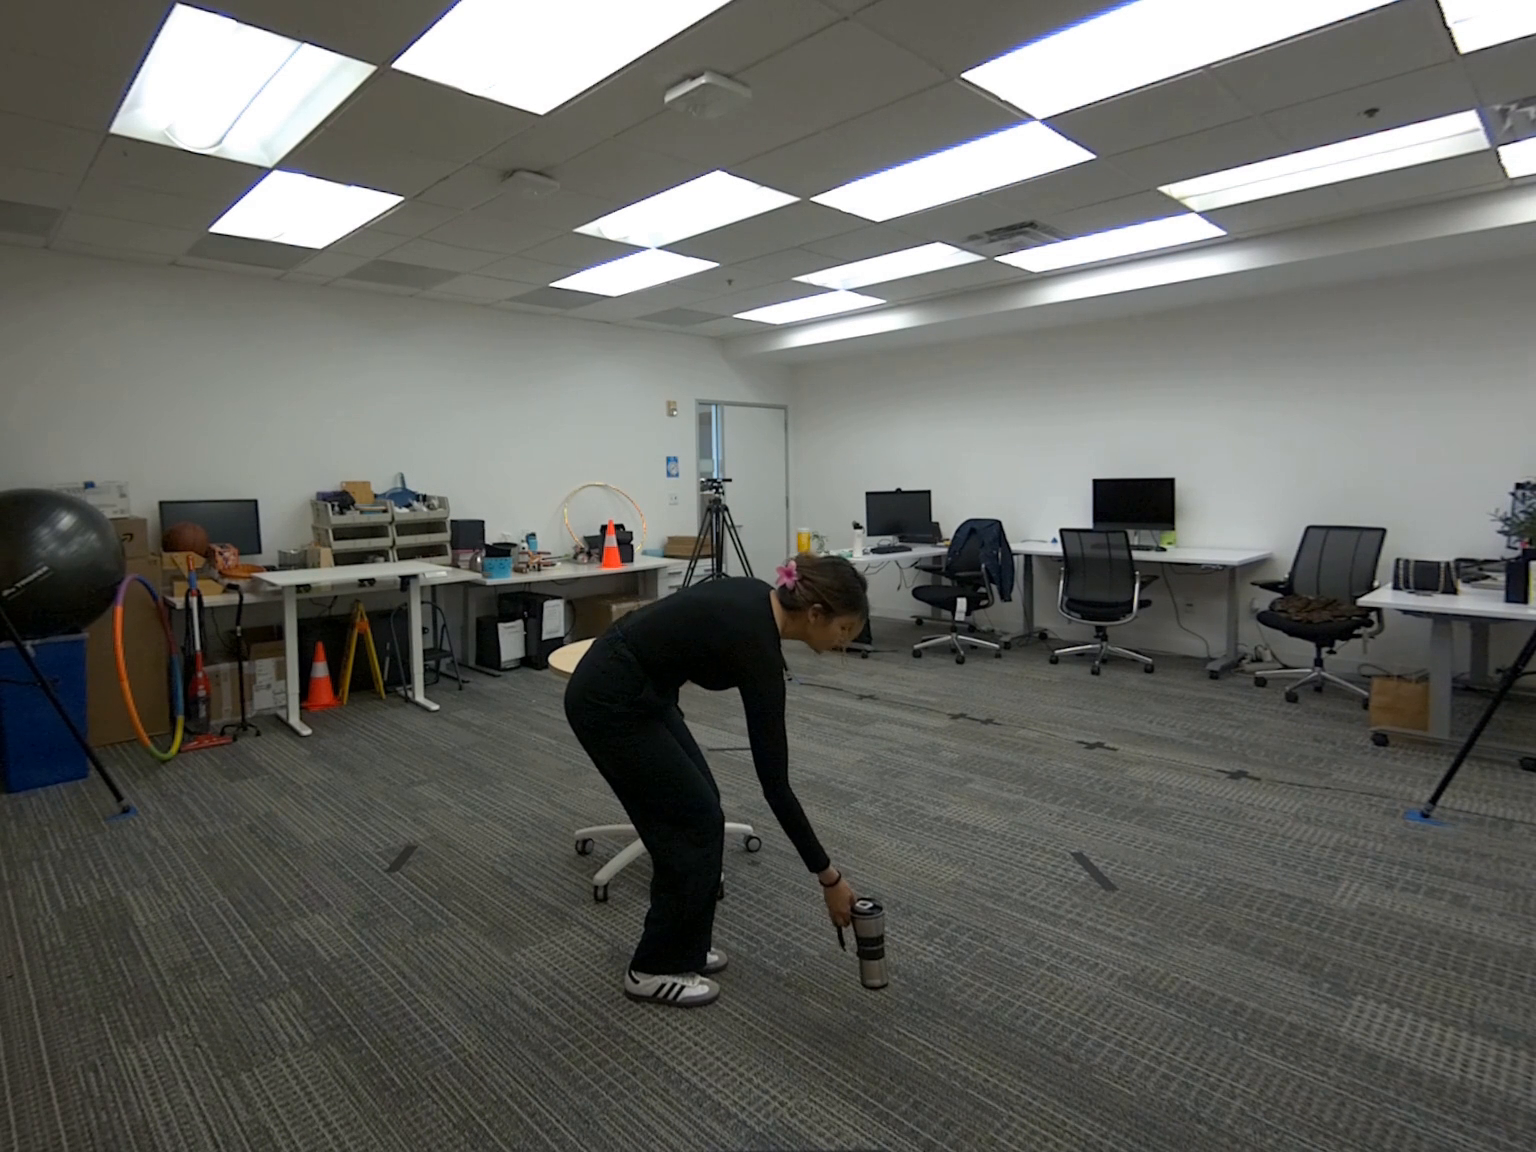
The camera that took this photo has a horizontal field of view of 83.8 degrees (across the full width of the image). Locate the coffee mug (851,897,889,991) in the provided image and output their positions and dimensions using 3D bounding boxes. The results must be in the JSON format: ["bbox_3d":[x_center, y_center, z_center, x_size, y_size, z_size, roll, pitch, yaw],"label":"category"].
[{"bbox_3d":[0.250,0.940,2.204,0.086,0.202,0.125,-10,5,-41],"label":"coffee mug"}]
